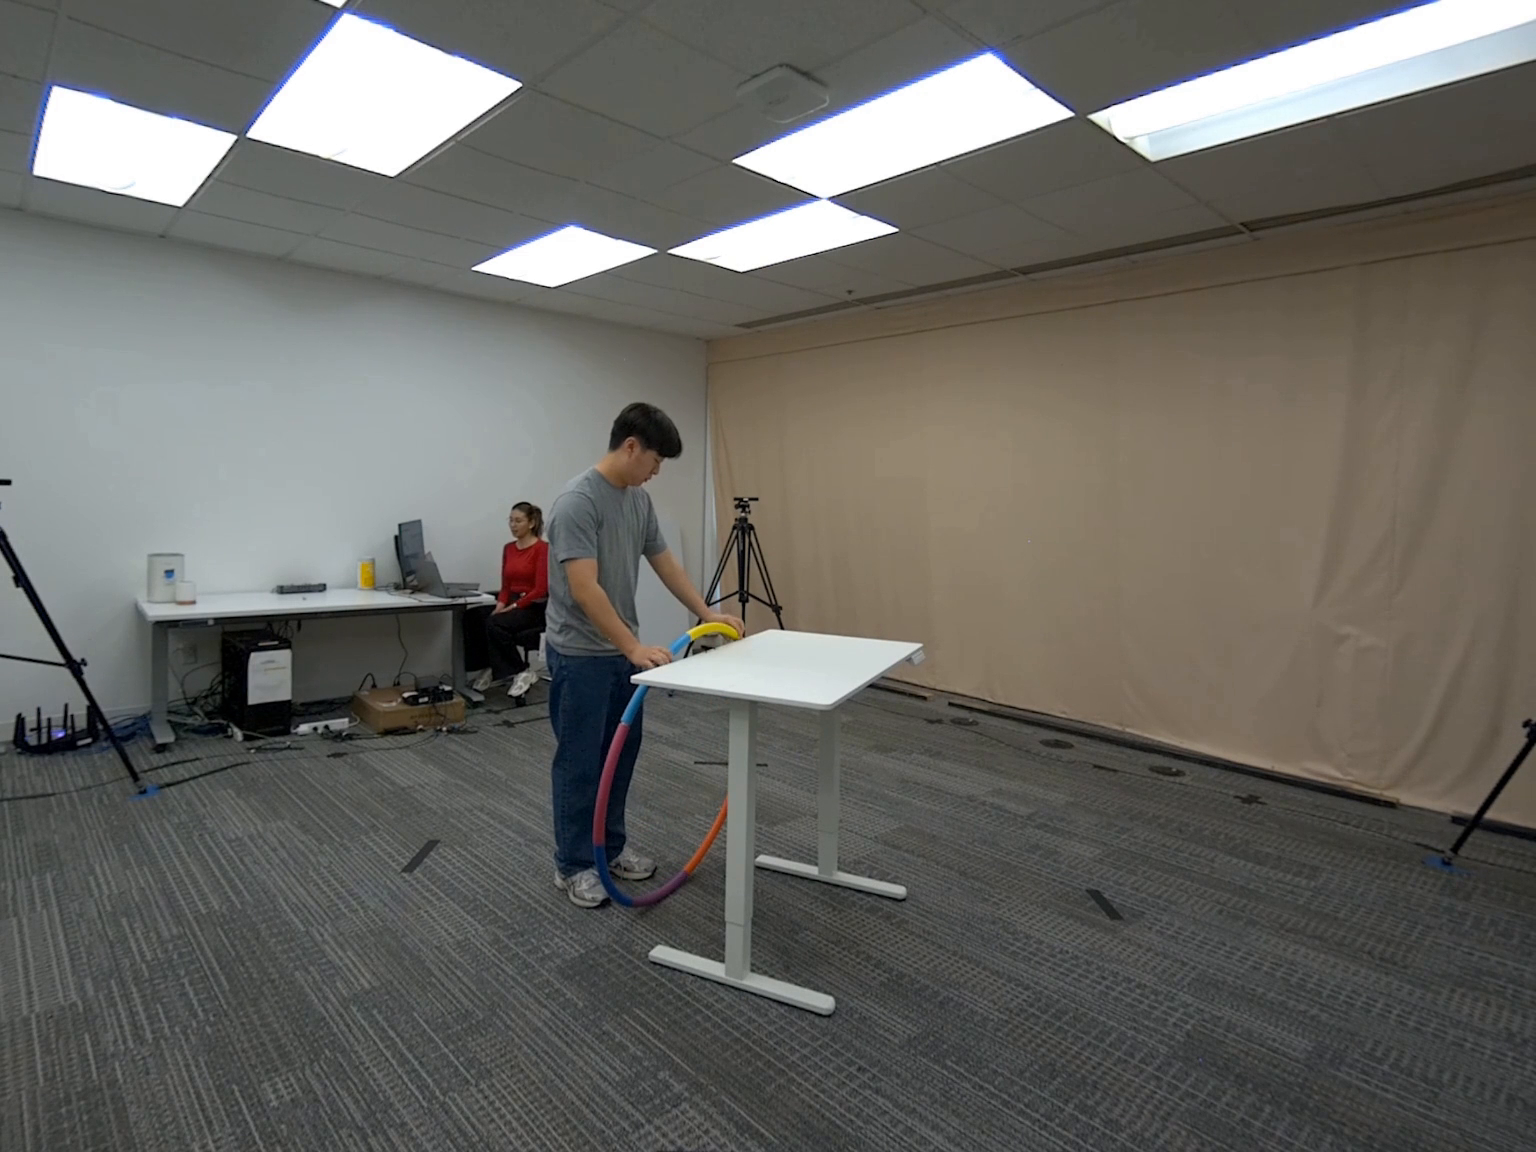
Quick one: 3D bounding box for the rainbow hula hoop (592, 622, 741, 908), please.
[{"bbox_3d":[-0.292,0.636,2.893,0.036,0.974,0.962,13,9,24],"label":"rainbow hula hoop"}]
